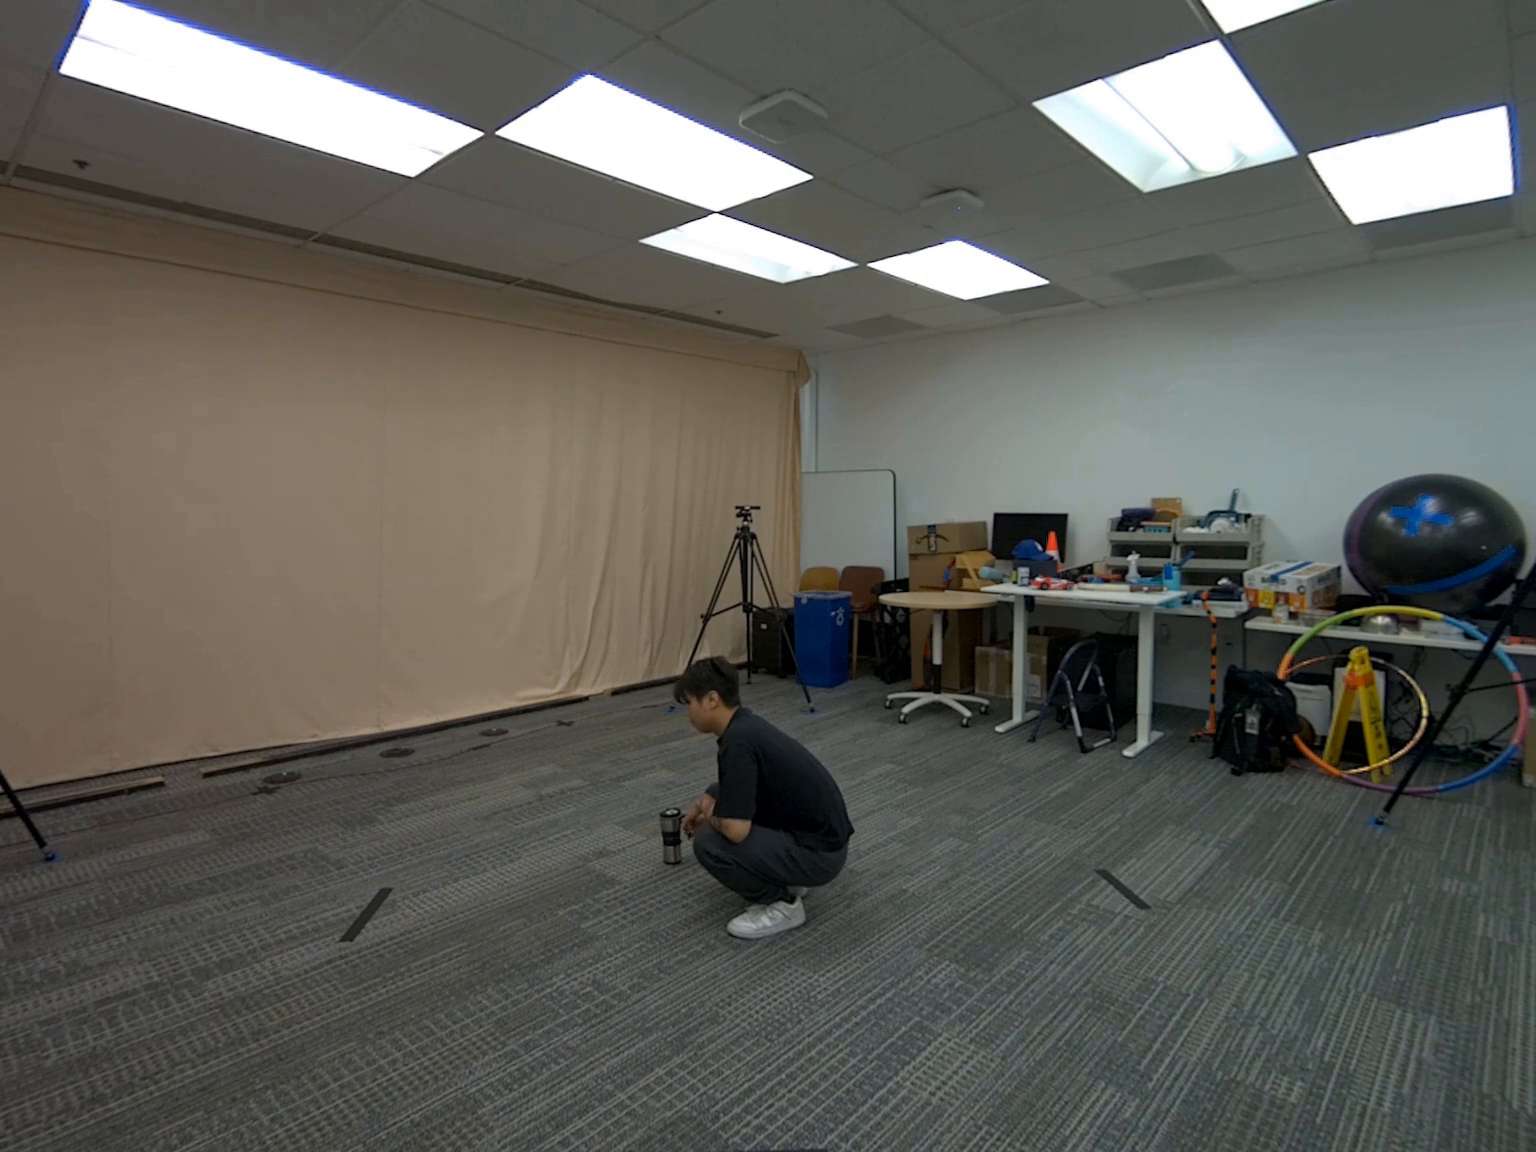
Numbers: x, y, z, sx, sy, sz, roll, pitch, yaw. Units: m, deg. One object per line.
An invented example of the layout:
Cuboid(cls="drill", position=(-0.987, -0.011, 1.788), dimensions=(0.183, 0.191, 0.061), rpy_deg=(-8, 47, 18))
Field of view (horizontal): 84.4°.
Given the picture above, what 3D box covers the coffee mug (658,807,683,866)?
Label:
Cuboid(cls="coffee mug", position=(-0.369, 1.021, 3.277), dimensions=(0.085, 0.203, 0.125), rpy_deg=(-4, -2, -41))
